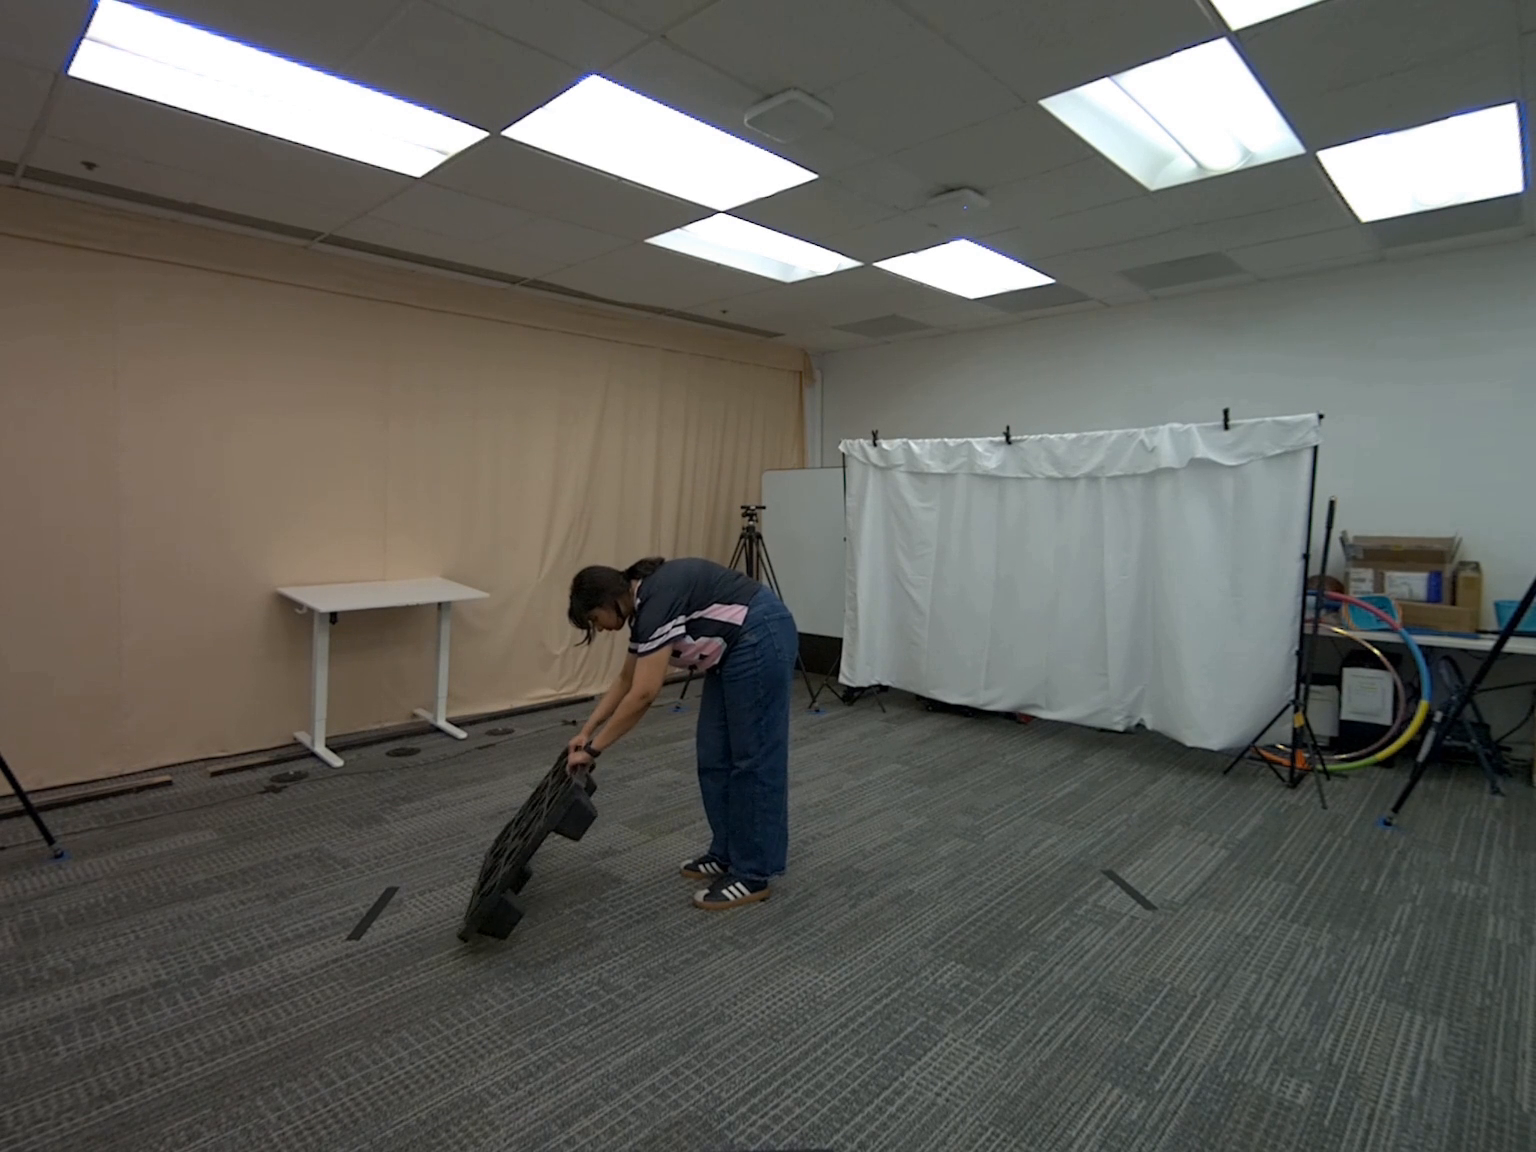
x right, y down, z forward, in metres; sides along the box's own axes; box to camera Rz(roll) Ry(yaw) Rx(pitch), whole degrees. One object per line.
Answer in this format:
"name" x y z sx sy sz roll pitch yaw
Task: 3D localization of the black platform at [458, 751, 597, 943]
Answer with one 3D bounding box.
"black platform" -0.805 0.898 2.989 0.141 0.604 0.815 37 -5 -11
